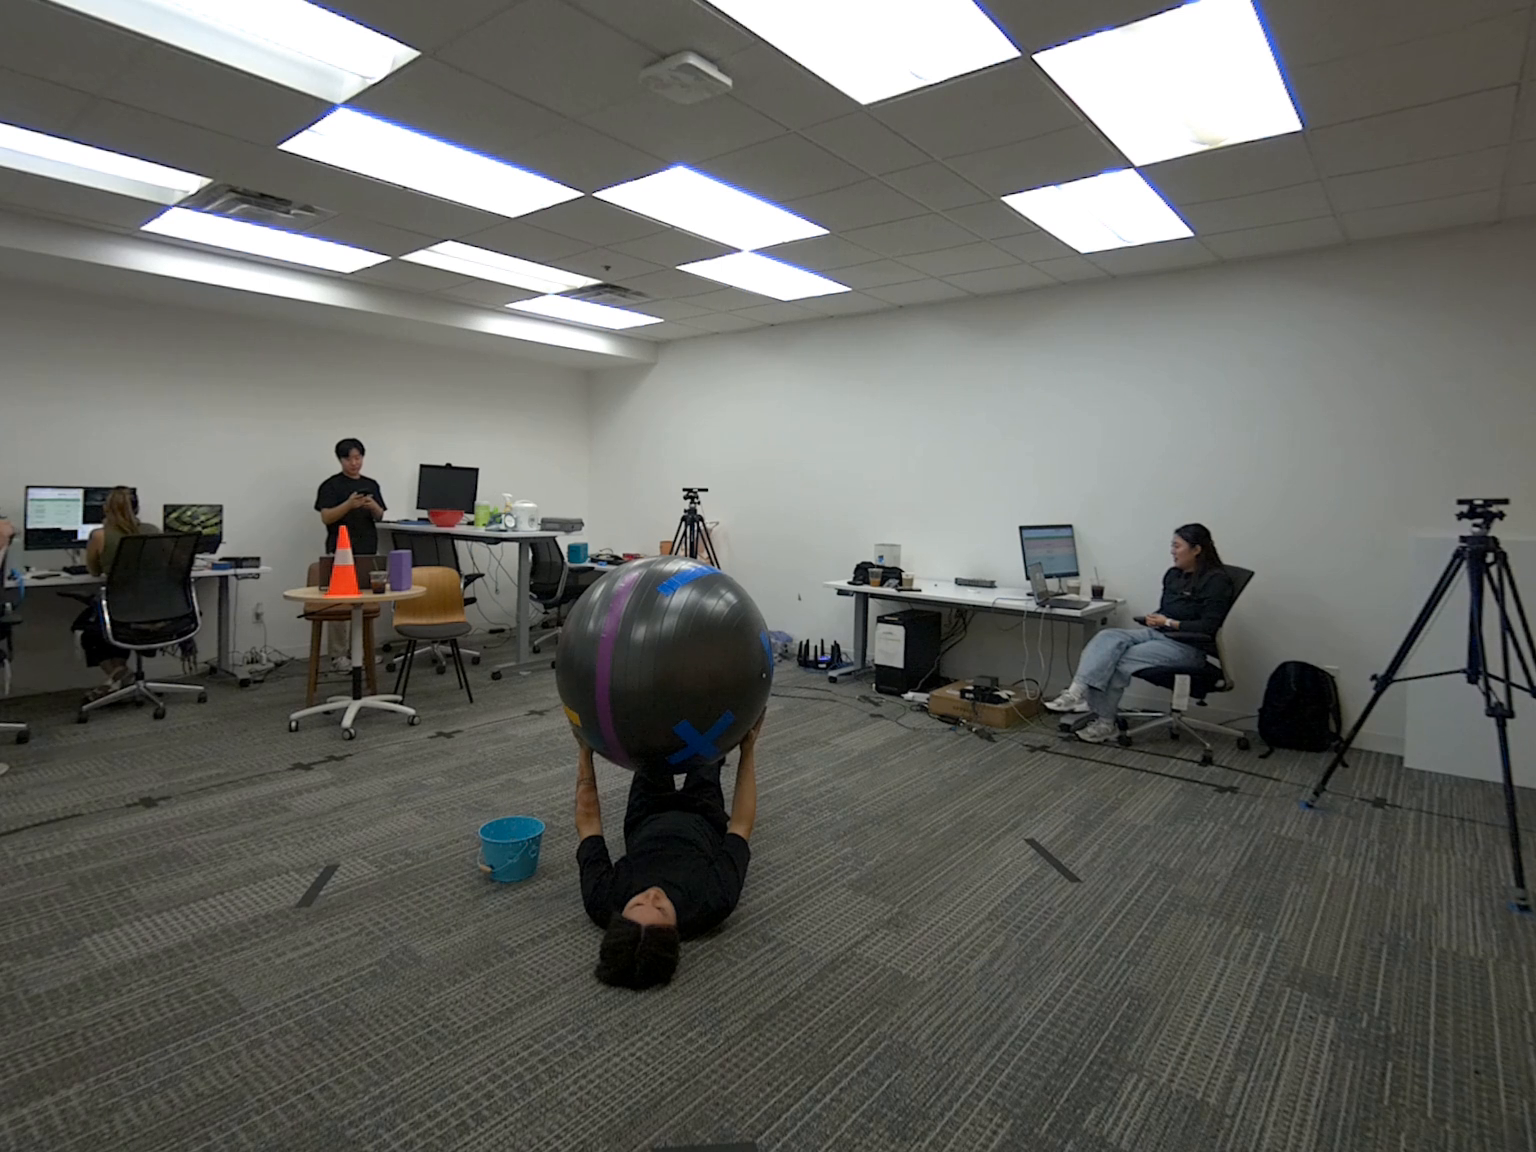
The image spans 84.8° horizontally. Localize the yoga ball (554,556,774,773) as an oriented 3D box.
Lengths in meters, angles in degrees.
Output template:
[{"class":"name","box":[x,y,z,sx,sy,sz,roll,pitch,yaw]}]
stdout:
[{"class":"yoga ball","box":[-0.368,0.310,2.981,0.757,0.755,0.762,1,4,-2]}]
